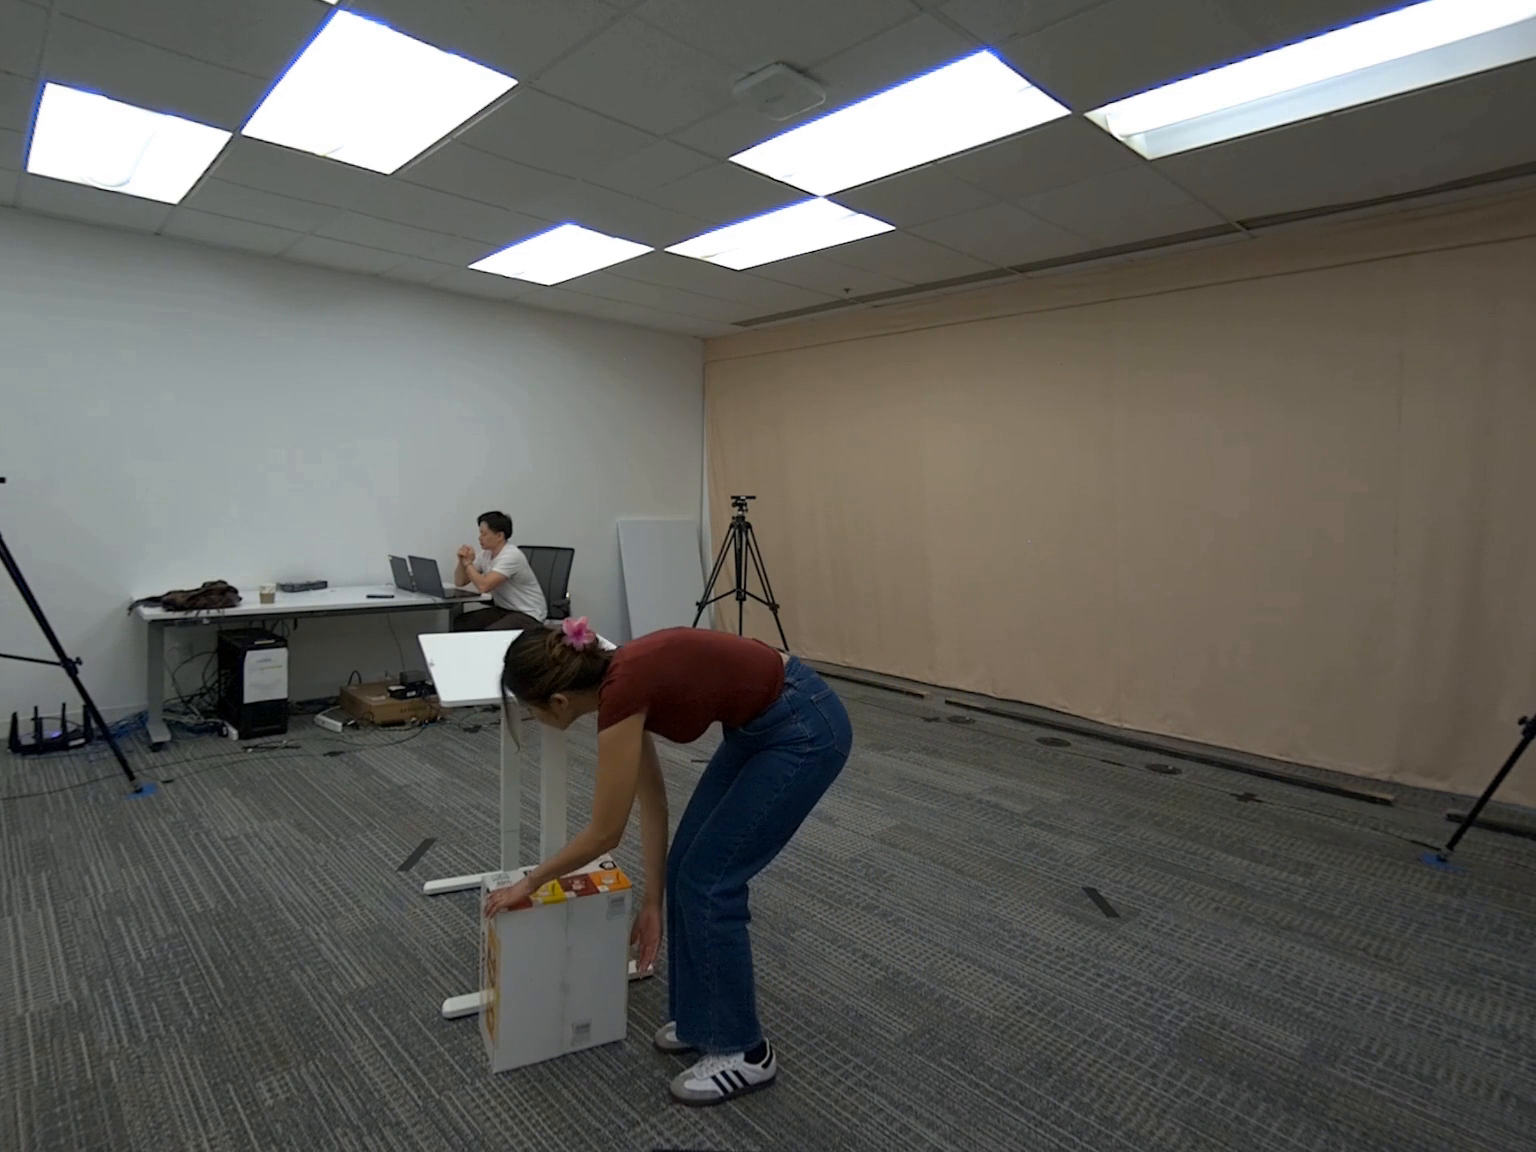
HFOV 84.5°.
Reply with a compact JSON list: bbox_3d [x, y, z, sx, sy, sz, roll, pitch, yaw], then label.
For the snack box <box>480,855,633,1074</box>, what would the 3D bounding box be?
[{"bbox_3d":[-0.548,0.971,2.152,0.334,0.404,0.210,0,4,-27],"label":"snack box"}]
